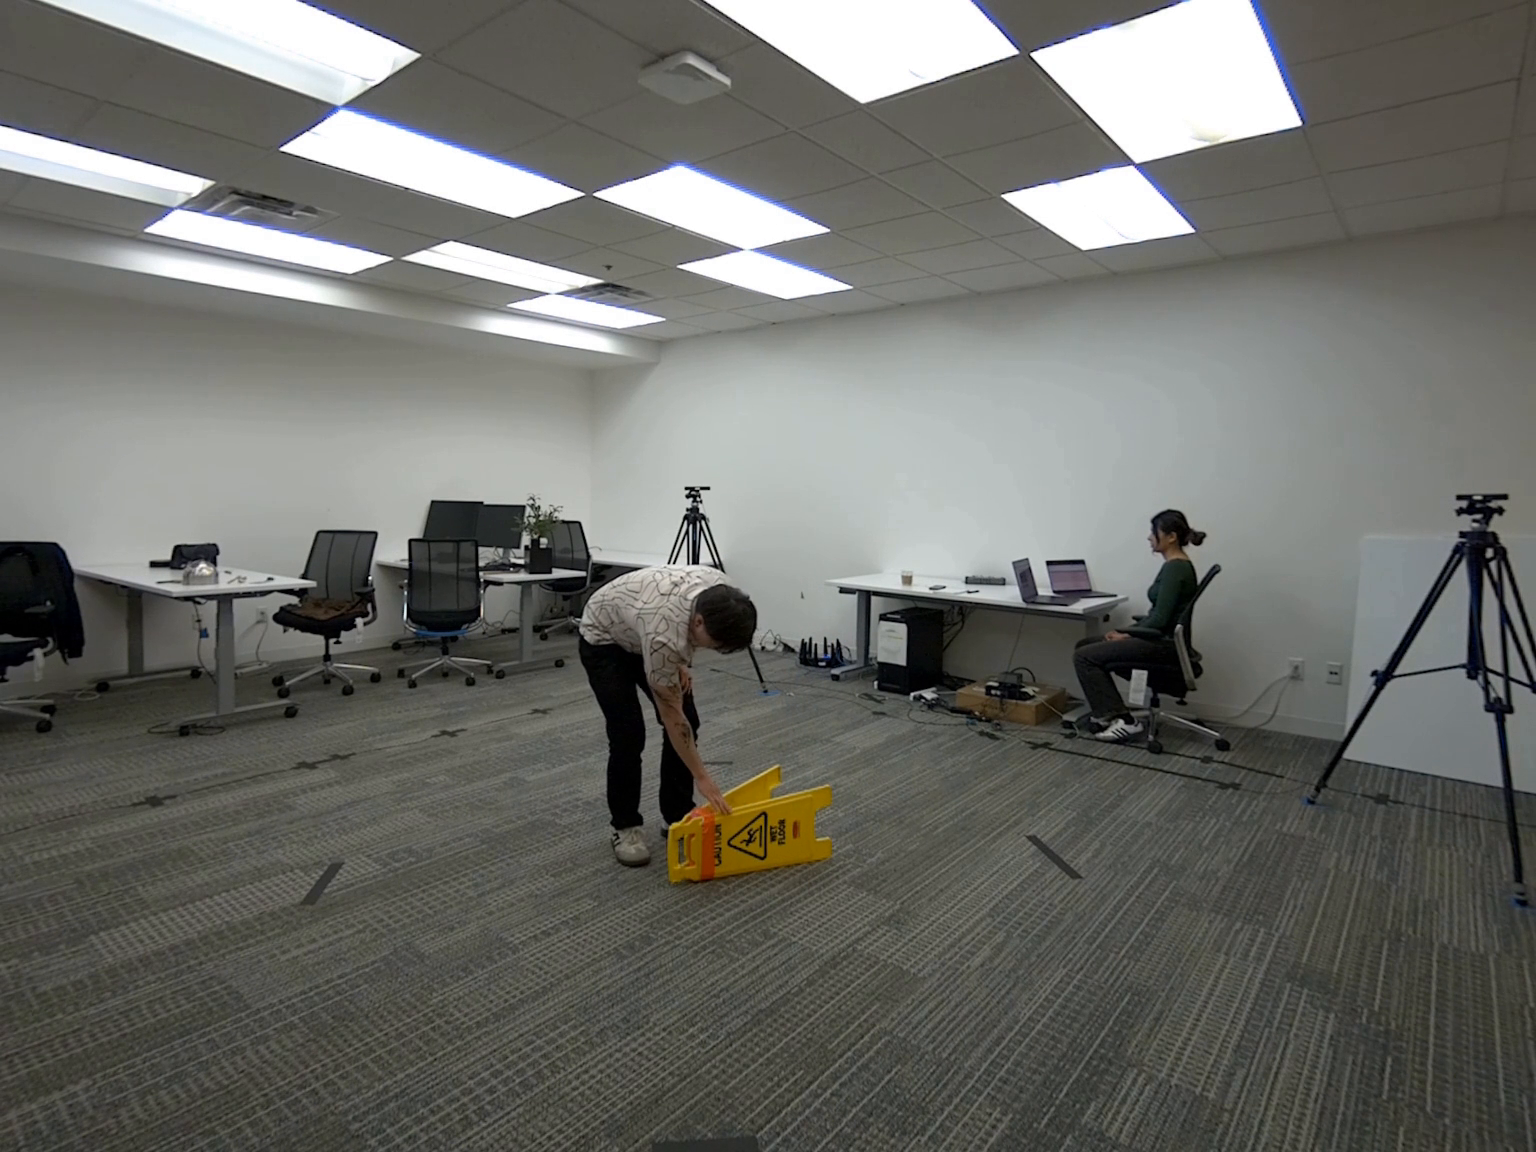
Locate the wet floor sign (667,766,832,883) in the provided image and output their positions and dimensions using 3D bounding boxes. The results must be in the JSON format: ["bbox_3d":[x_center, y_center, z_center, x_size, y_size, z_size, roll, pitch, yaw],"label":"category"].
[{"bbox_3d":[-0.106,0.934,3.128,0.628,0.281,0.299,-6,7,-39],"label":"wet floor sign"}]
